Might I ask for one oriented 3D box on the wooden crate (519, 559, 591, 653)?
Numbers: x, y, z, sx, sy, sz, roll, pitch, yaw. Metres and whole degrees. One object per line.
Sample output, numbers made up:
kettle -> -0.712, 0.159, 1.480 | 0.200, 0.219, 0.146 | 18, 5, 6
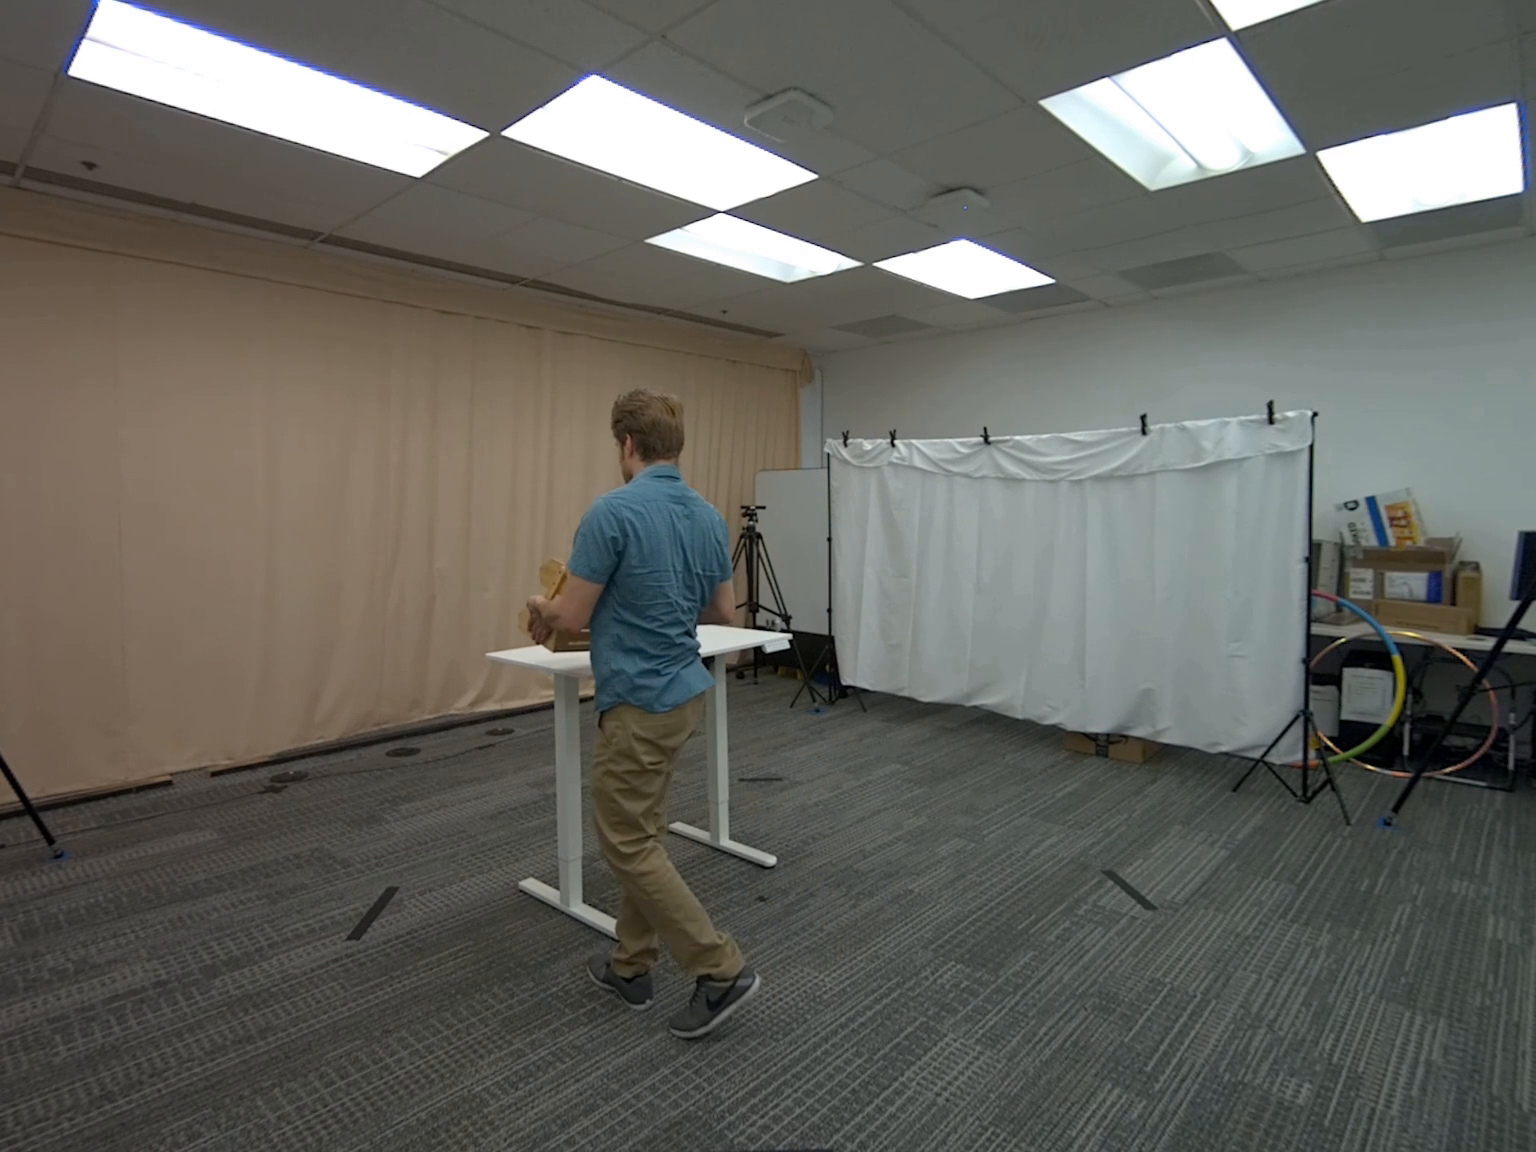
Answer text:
wooden crate -> -0.554, 0.073, 2.575 | 0.314, 0.272, 0.313 | 2, 13, -41
